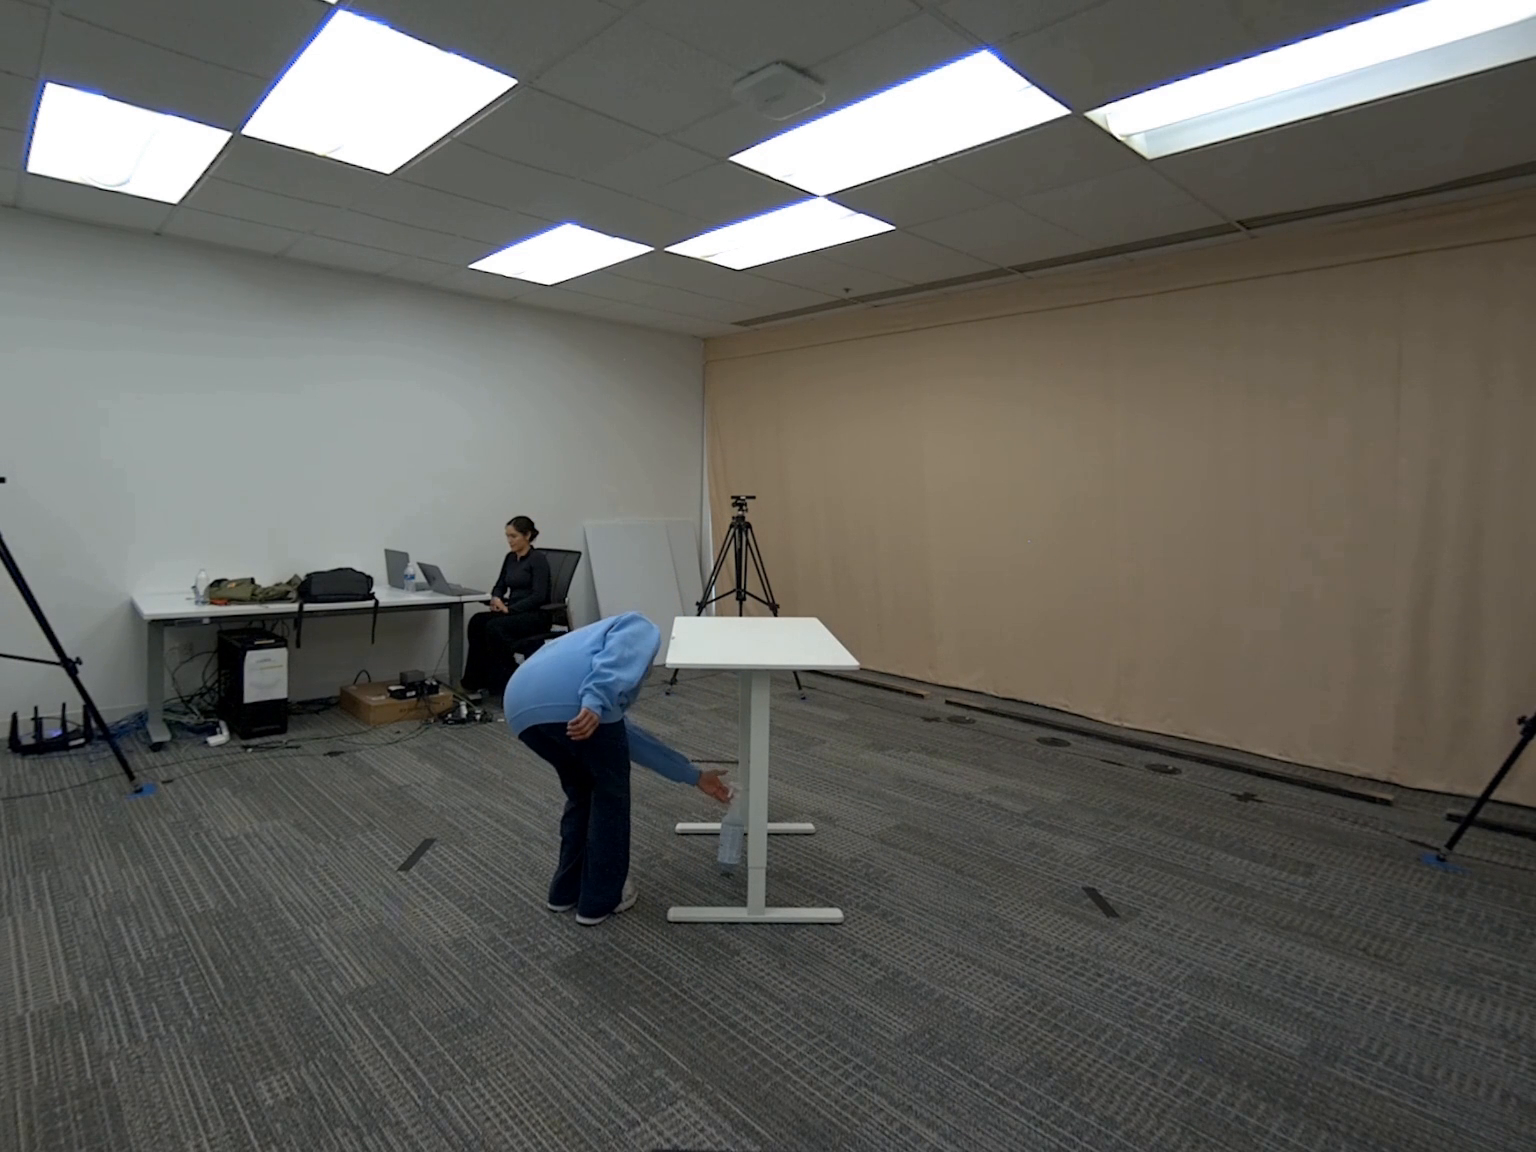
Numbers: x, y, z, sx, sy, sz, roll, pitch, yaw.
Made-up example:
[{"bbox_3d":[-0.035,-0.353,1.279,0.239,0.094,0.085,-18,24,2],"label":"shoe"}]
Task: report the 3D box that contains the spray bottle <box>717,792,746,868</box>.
[{"bbox_3d":[-0.147,0.916,3.093,0.088,0.298,0.089,7,-5,-29],"label":"spray bottle"}]
